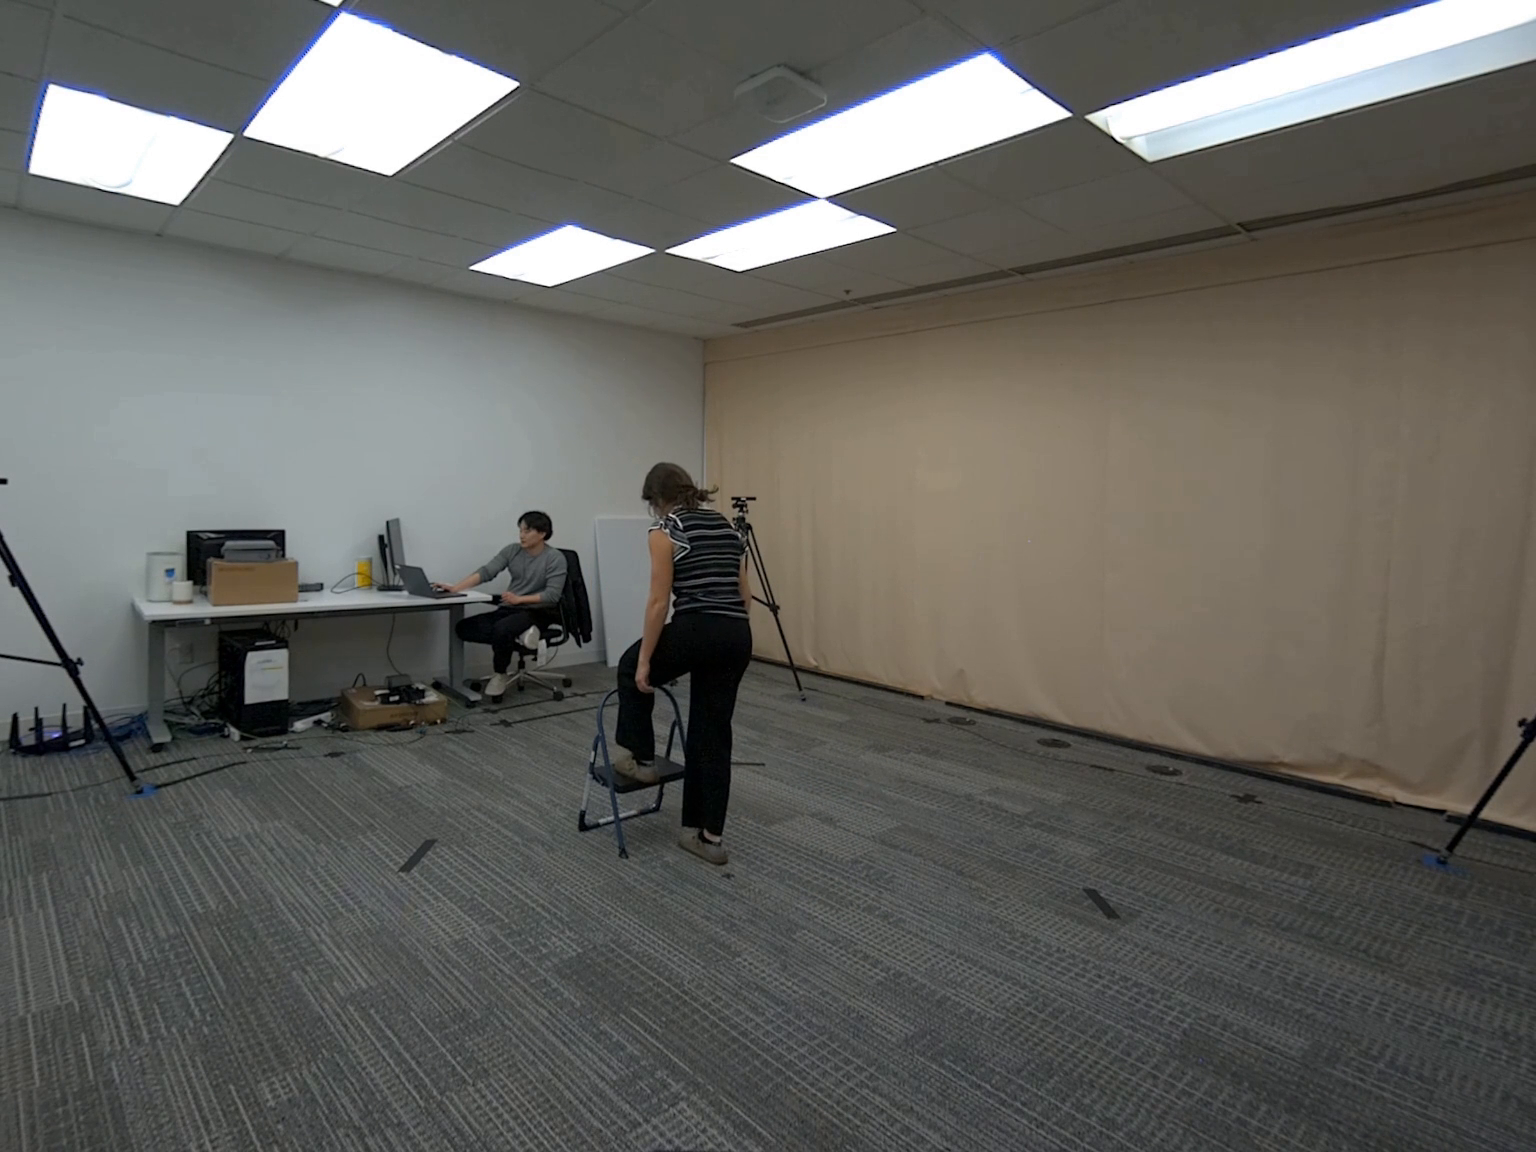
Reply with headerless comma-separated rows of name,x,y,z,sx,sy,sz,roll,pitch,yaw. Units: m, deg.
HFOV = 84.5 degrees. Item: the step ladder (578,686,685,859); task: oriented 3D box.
step ladder,-0.523,0.762,3.488,0.421,0.605,0.358,-2,5,-44
